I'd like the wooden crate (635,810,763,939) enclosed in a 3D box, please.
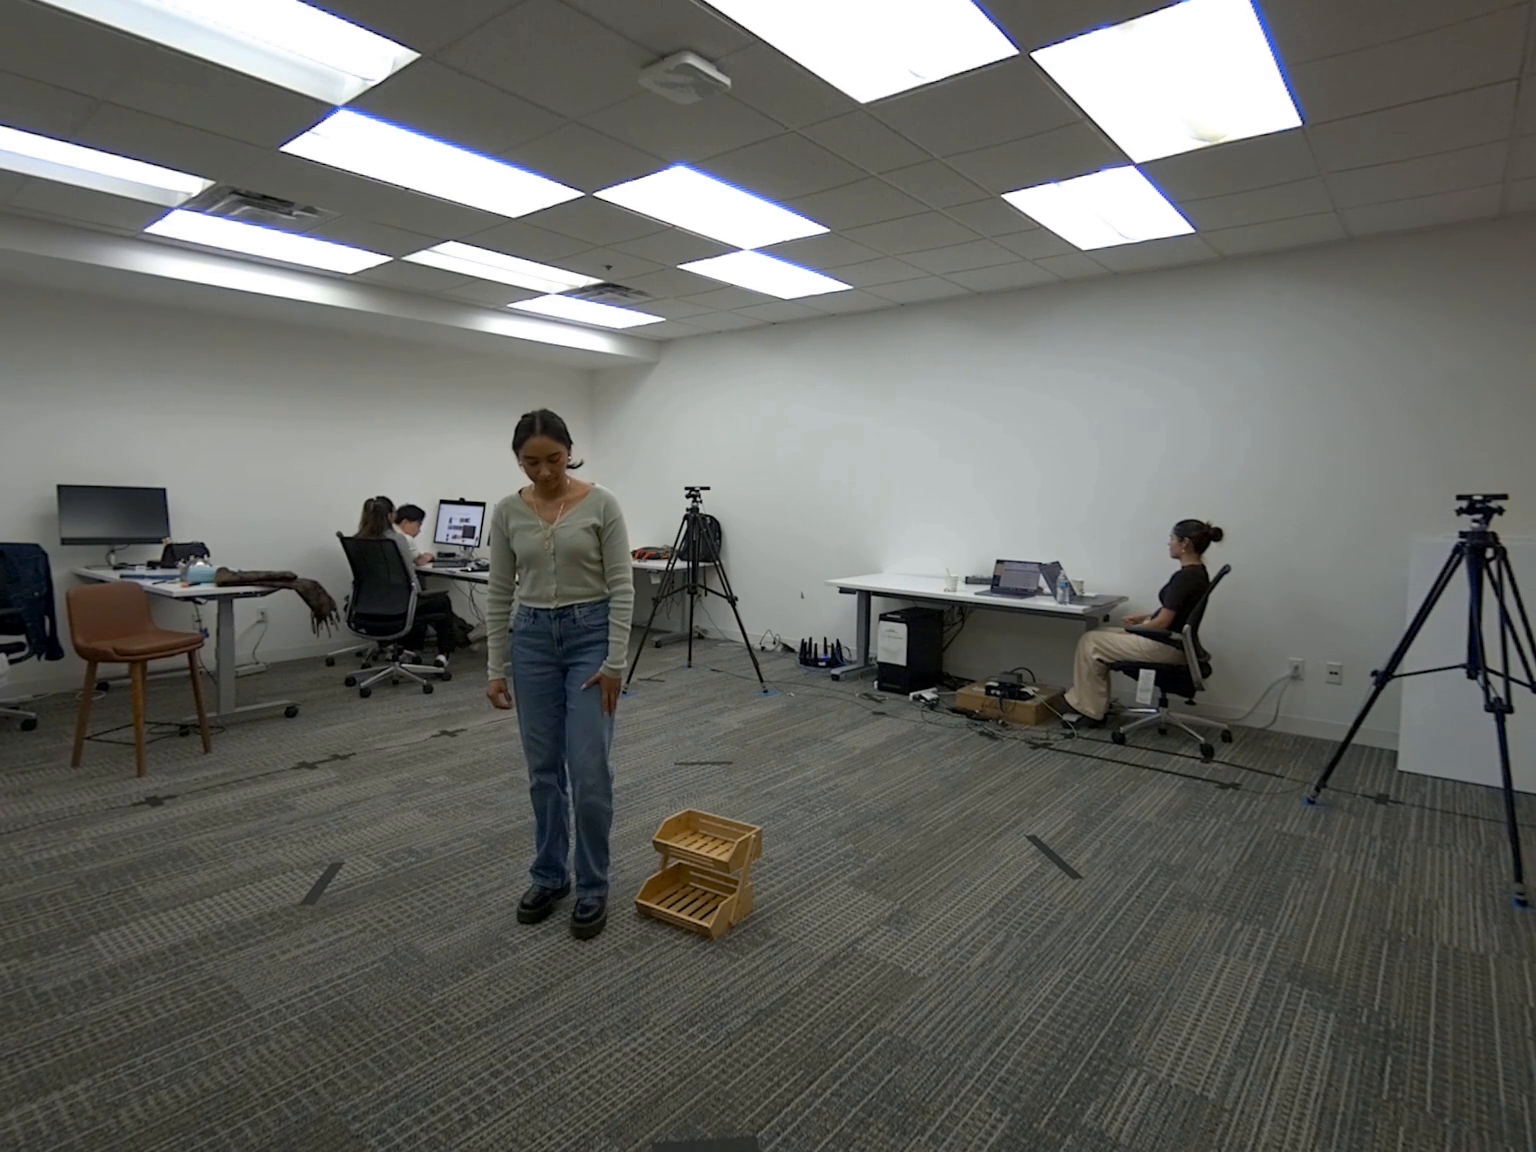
[{"bbox_3d":[-0.239,0.965,2.791,0.334,0.273,0.294,3,4,32],"label":"wooden crate"}]
